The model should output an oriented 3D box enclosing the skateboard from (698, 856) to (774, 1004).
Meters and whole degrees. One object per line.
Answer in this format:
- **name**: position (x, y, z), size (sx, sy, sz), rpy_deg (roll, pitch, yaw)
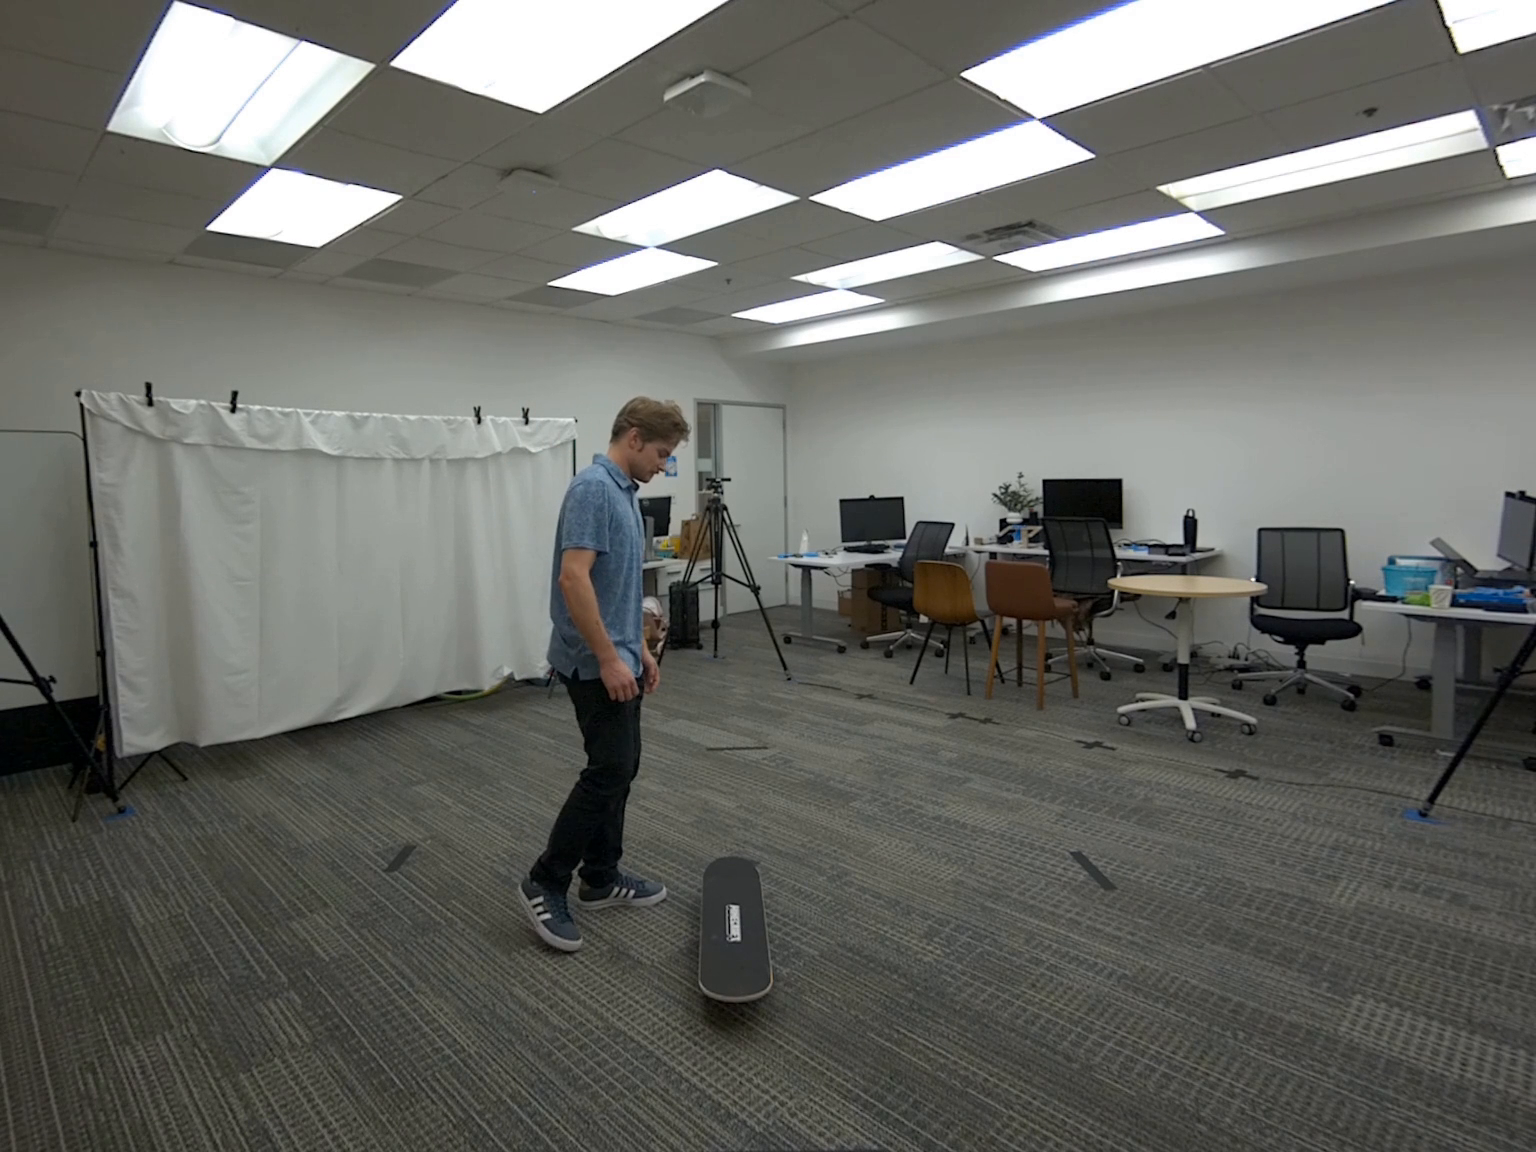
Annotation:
- **skateboard**: position (-0.099, 1.057, 2.525), size (0.193, 0.110, 0.790), rpy_deg (-1, 6, -3)
